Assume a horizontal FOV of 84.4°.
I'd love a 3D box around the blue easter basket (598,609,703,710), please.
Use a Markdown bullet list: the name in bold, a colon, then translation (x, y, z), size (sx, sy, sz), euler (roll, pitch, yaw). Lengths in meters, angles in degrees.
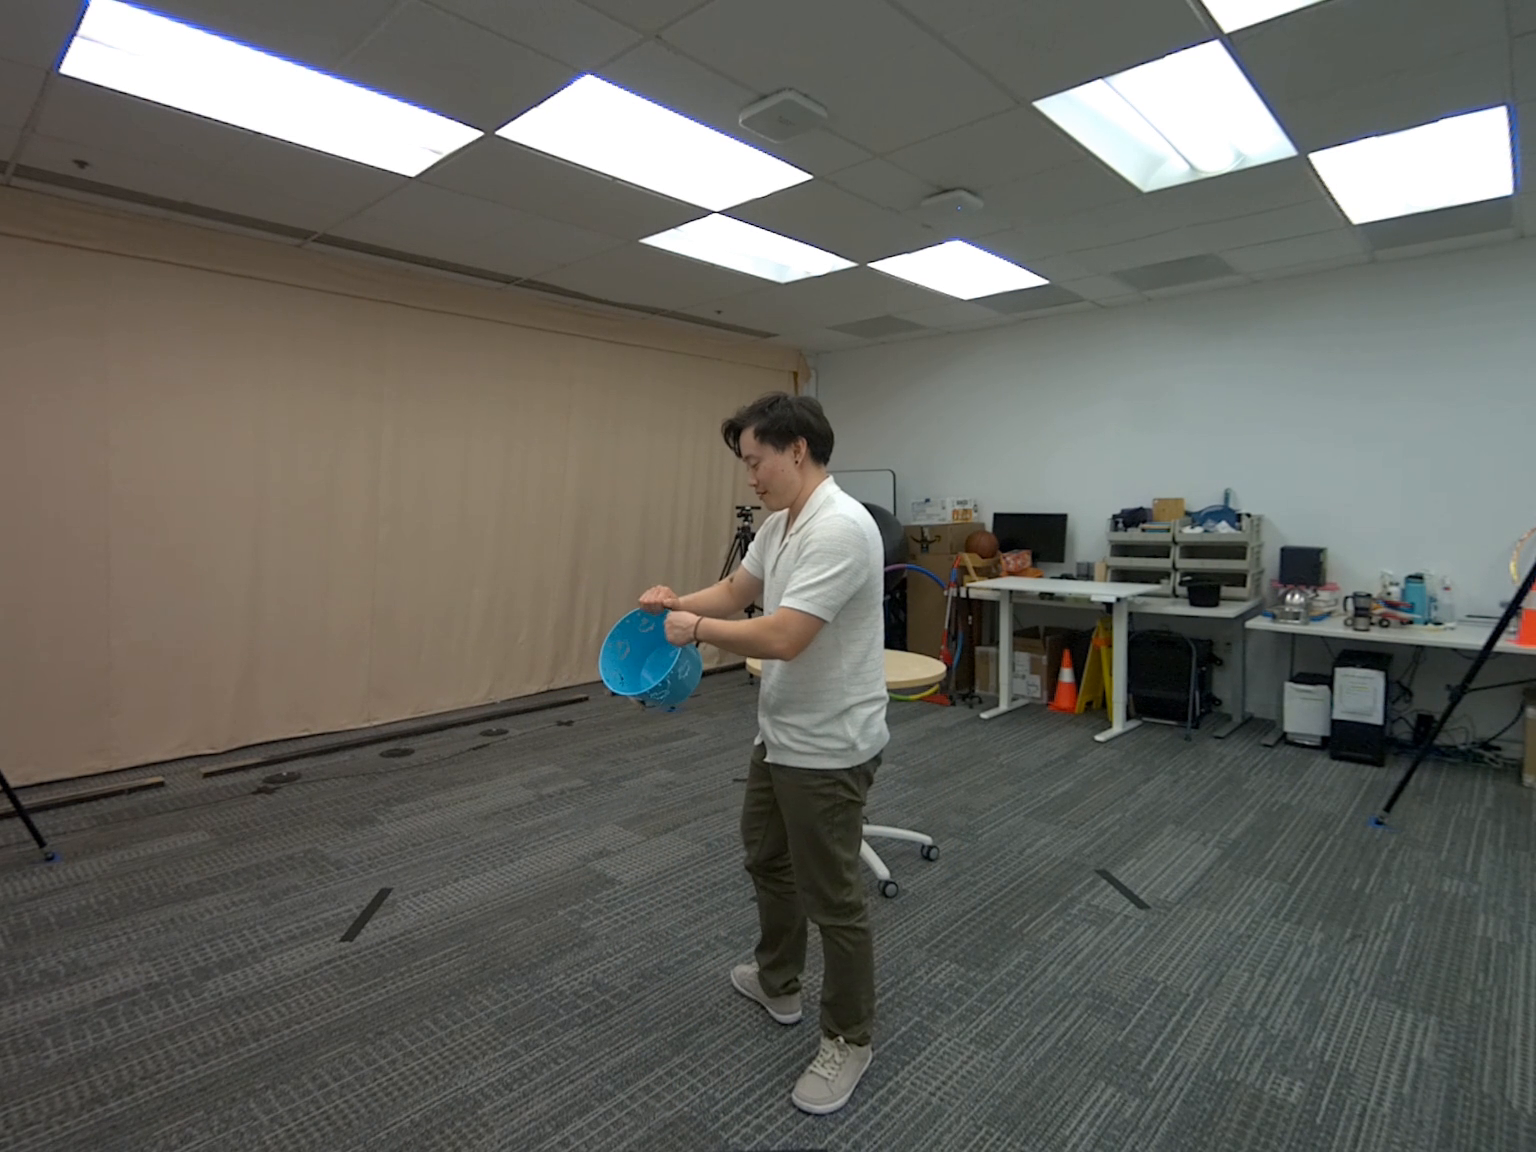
- **blue easter basket**: translation (-0.284, 0.212, 2.063), size (0.251, 0.245, 0.150), euler (2, -28, 32)
